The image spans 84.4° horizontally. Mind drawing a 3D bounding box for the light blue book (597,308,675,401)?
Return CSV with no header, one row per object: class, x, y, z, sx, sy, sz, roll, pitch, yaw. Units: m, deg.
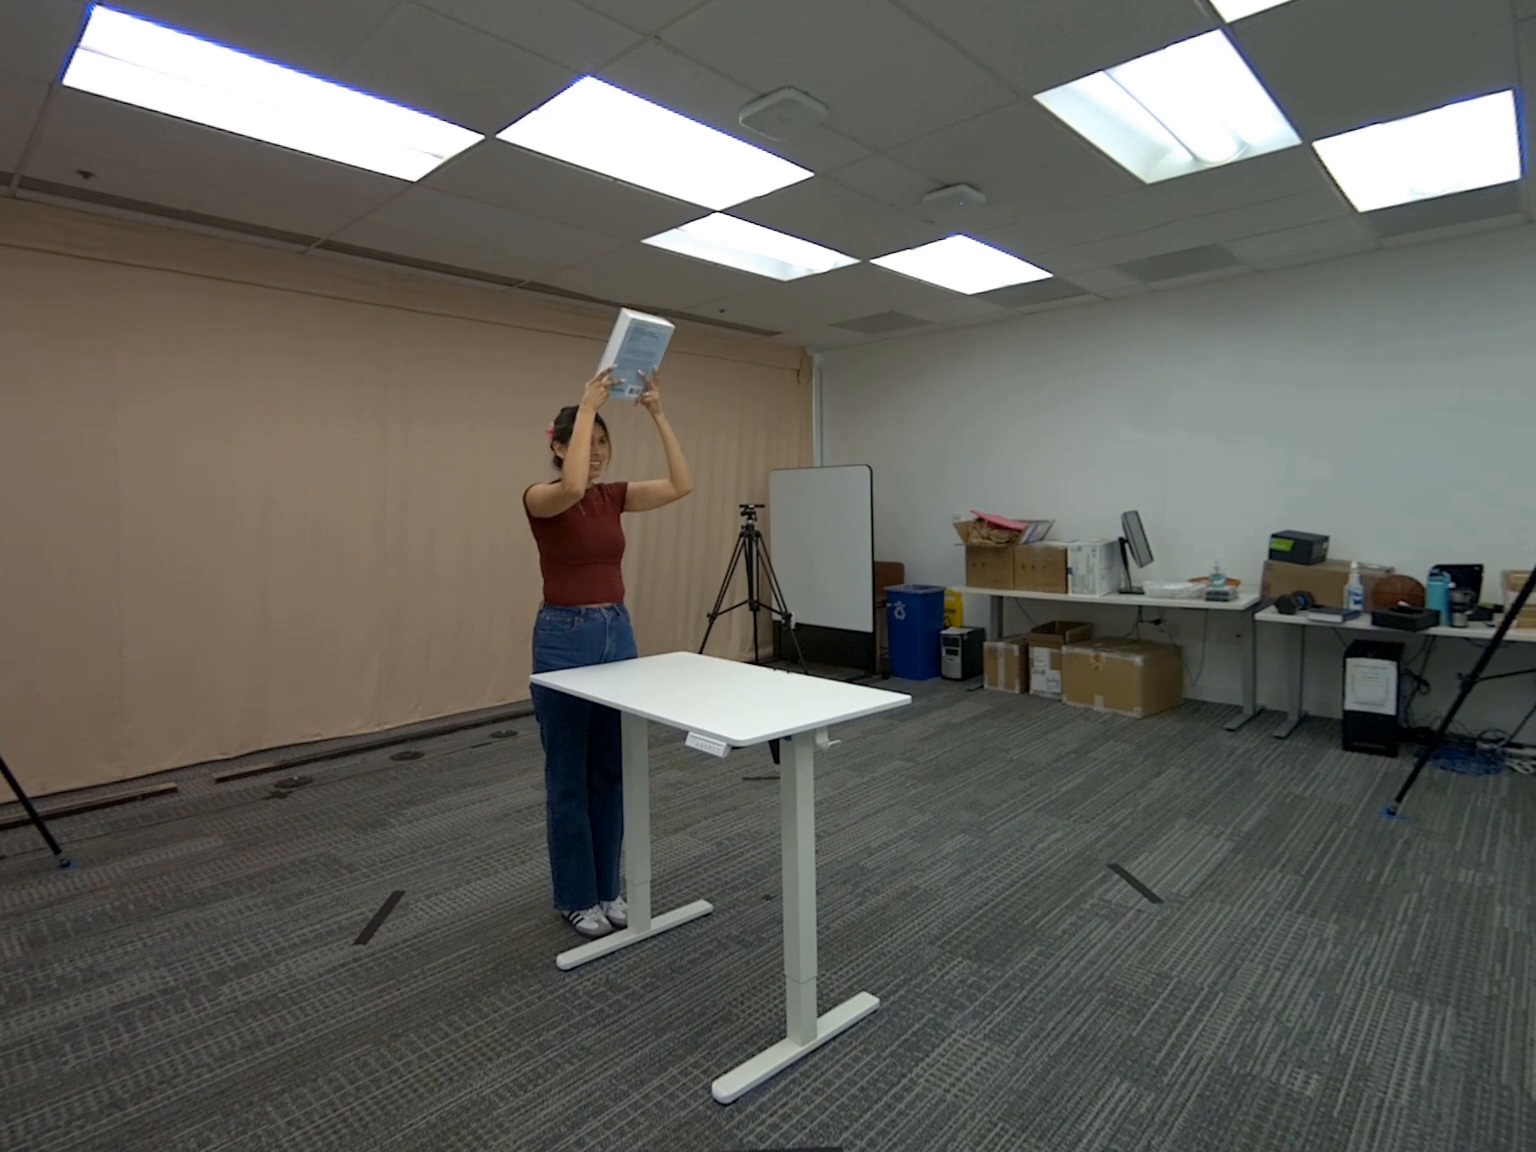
light blue book,-0.415,-0.674,2.599,0.061,0.261,0.185,42,26,28
